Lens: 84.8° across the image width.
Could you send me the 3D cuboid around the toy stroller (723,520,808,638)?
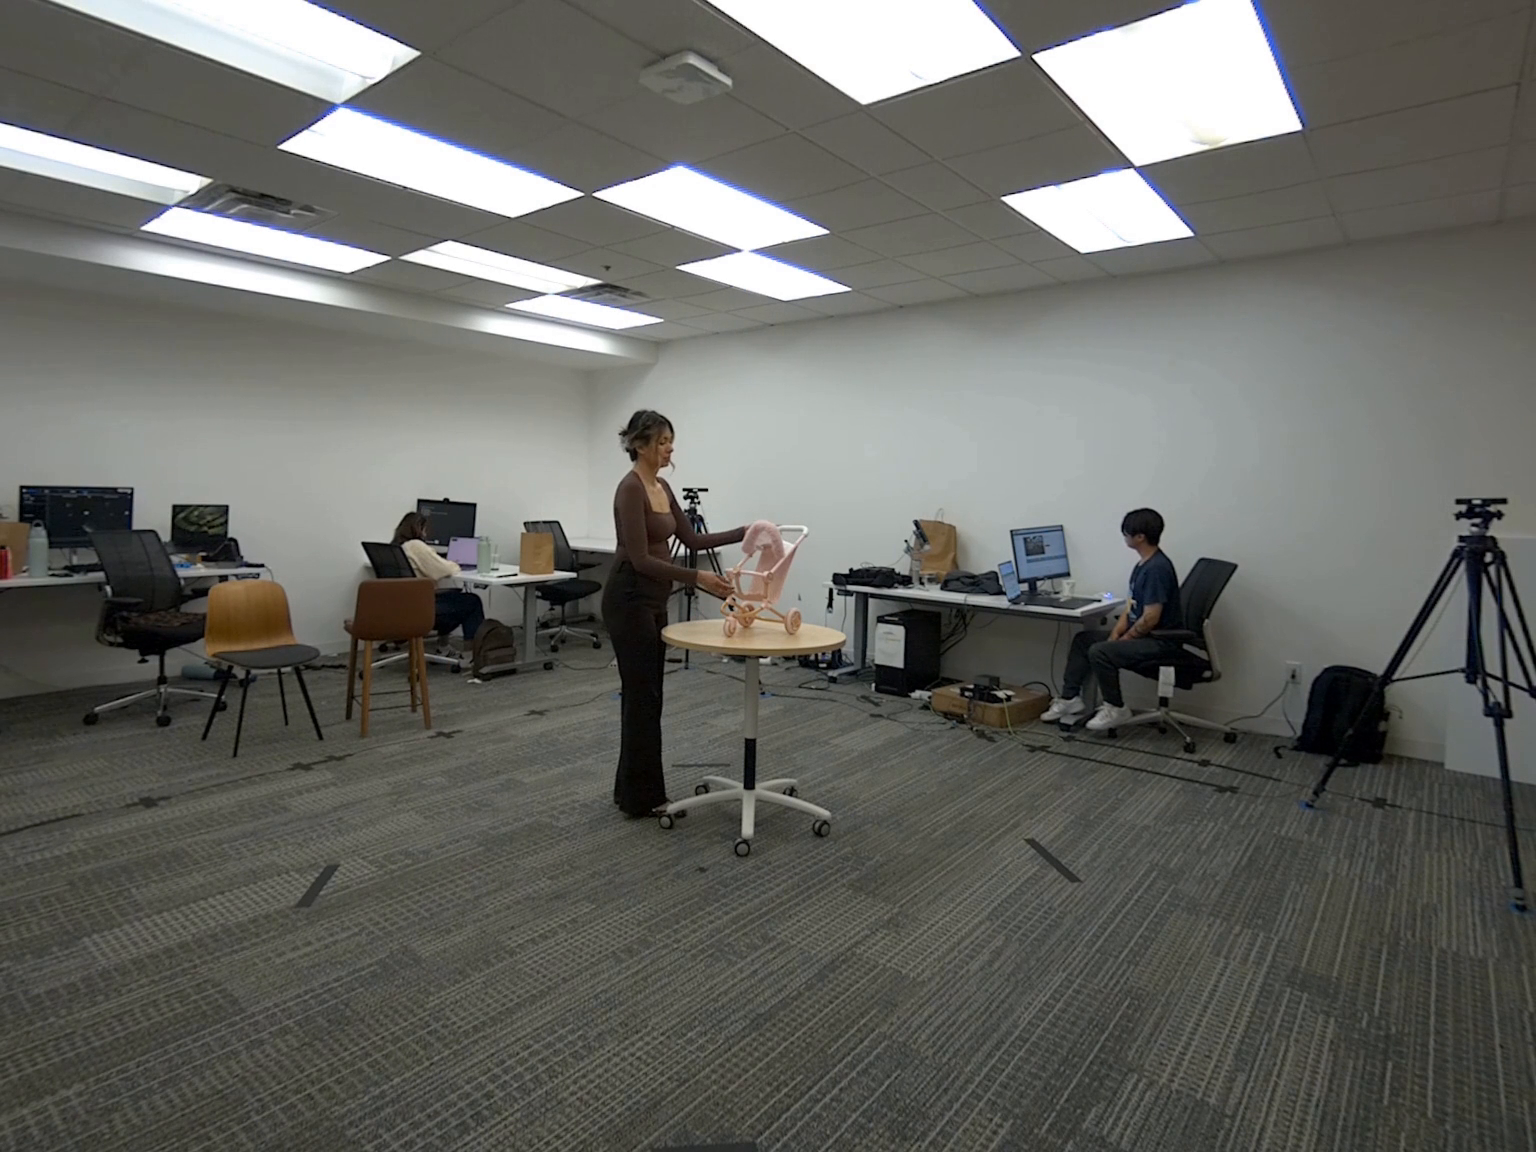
[{"bbox_3d":[-0.040,0.005,3.556,0.291,0.538,0.328,3,-11,44],"label":"toy stroller"}]
